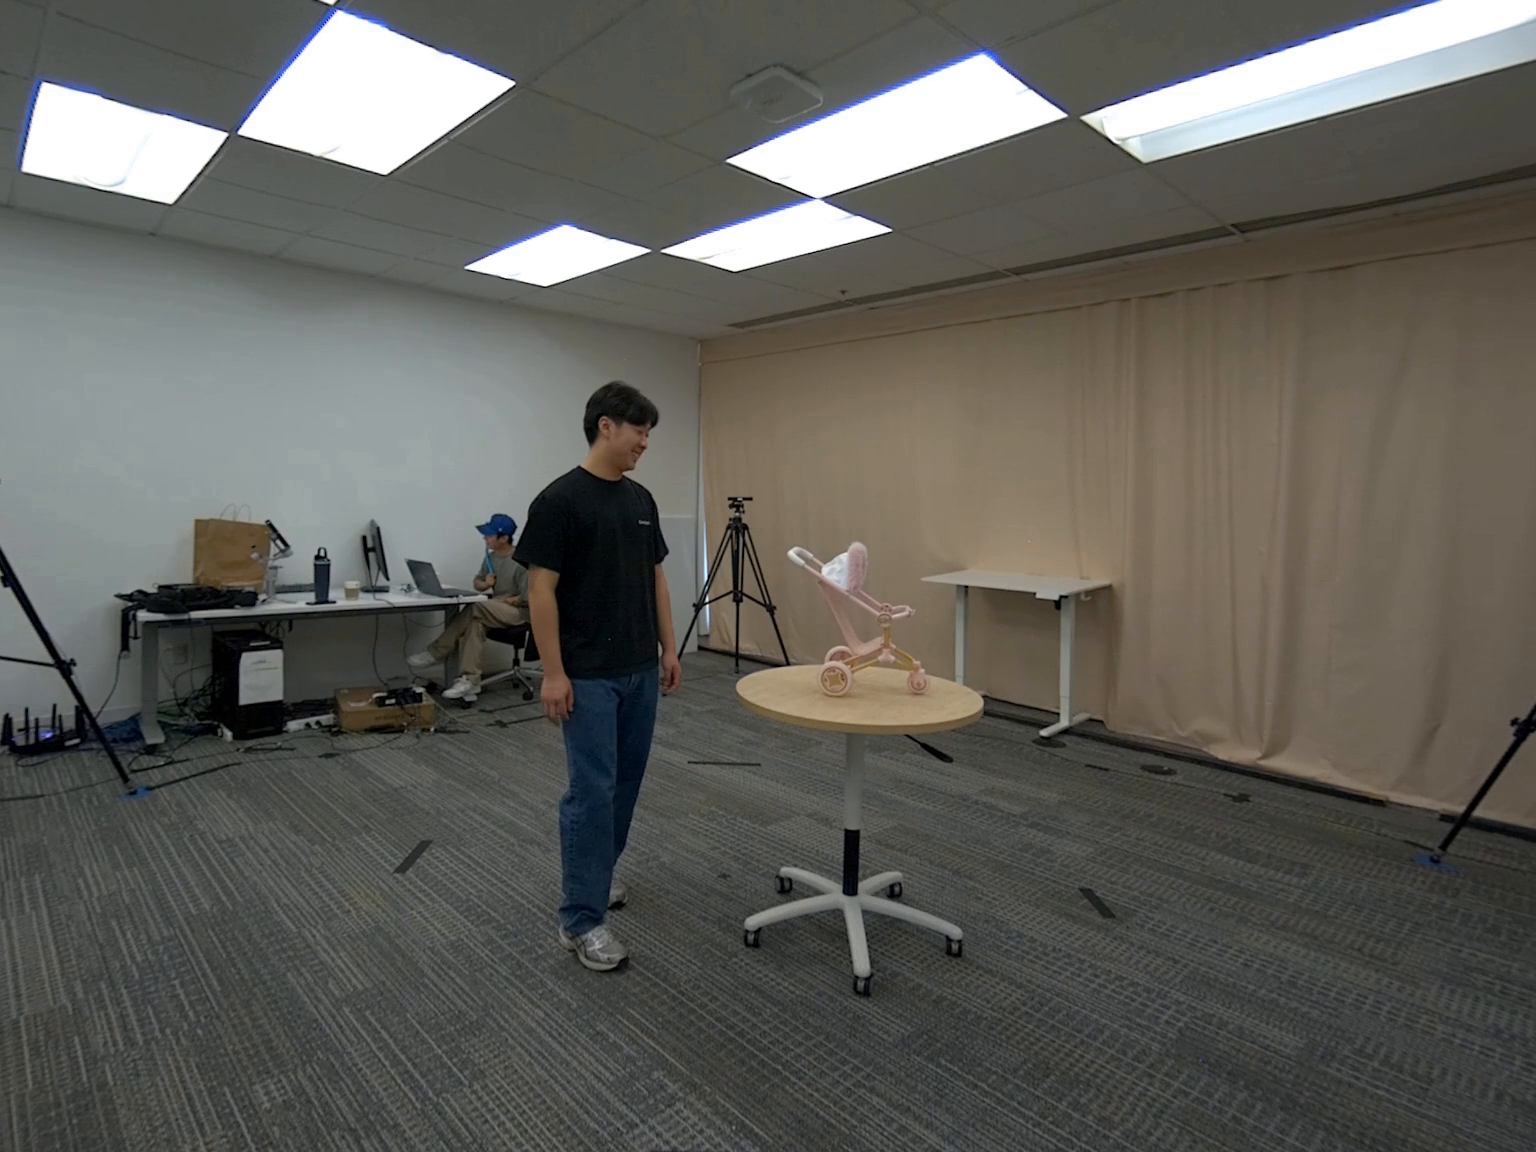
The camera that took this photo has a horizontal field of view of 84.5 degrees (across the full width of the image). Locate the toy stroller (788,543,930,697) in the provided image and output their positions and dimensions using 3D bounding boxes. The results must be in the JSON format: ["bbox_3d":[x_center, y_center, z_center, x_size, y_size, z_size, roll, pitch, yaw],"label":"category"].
[{"bbox_3d":[0.289,0.138,2.652,0.345,0.535,0.278,-13,0,16],"label":"toy stroller"}]
